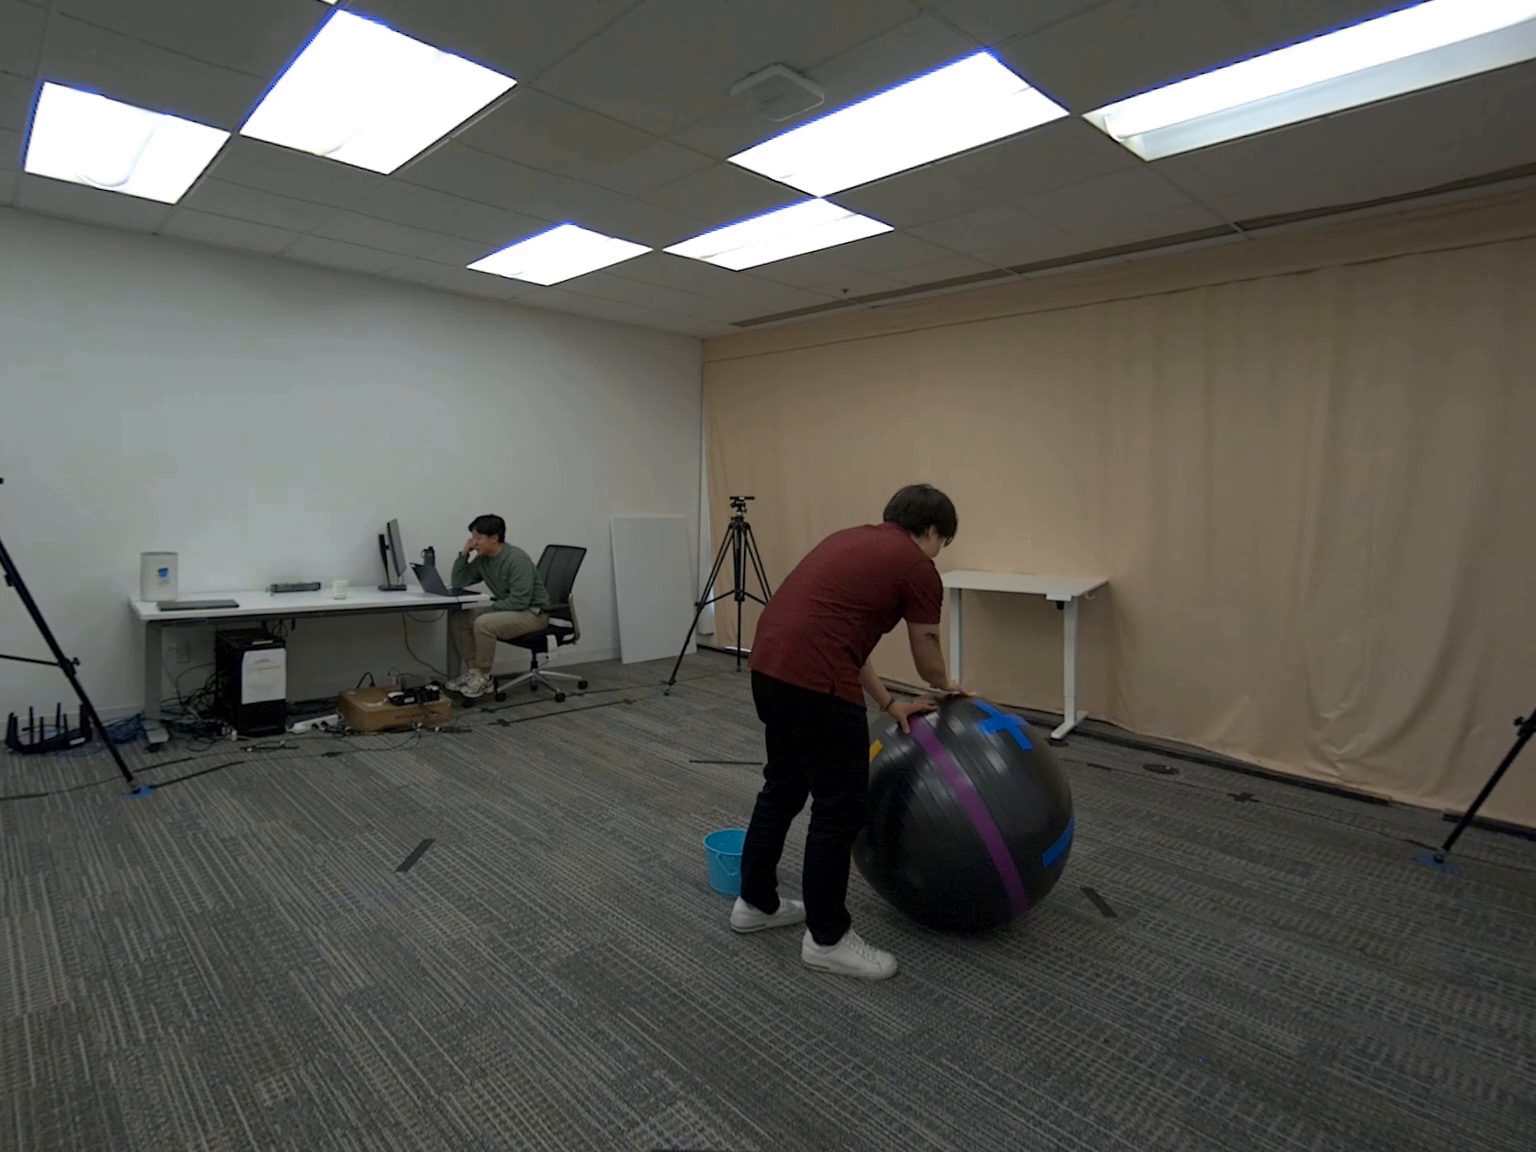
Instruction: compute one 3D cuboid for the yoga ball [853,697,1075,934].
[{"bbox_3d":[0.626,0.789,2.842,0.757,0.756,0.761,1,4,-1],"label":"yoga ball"}]
